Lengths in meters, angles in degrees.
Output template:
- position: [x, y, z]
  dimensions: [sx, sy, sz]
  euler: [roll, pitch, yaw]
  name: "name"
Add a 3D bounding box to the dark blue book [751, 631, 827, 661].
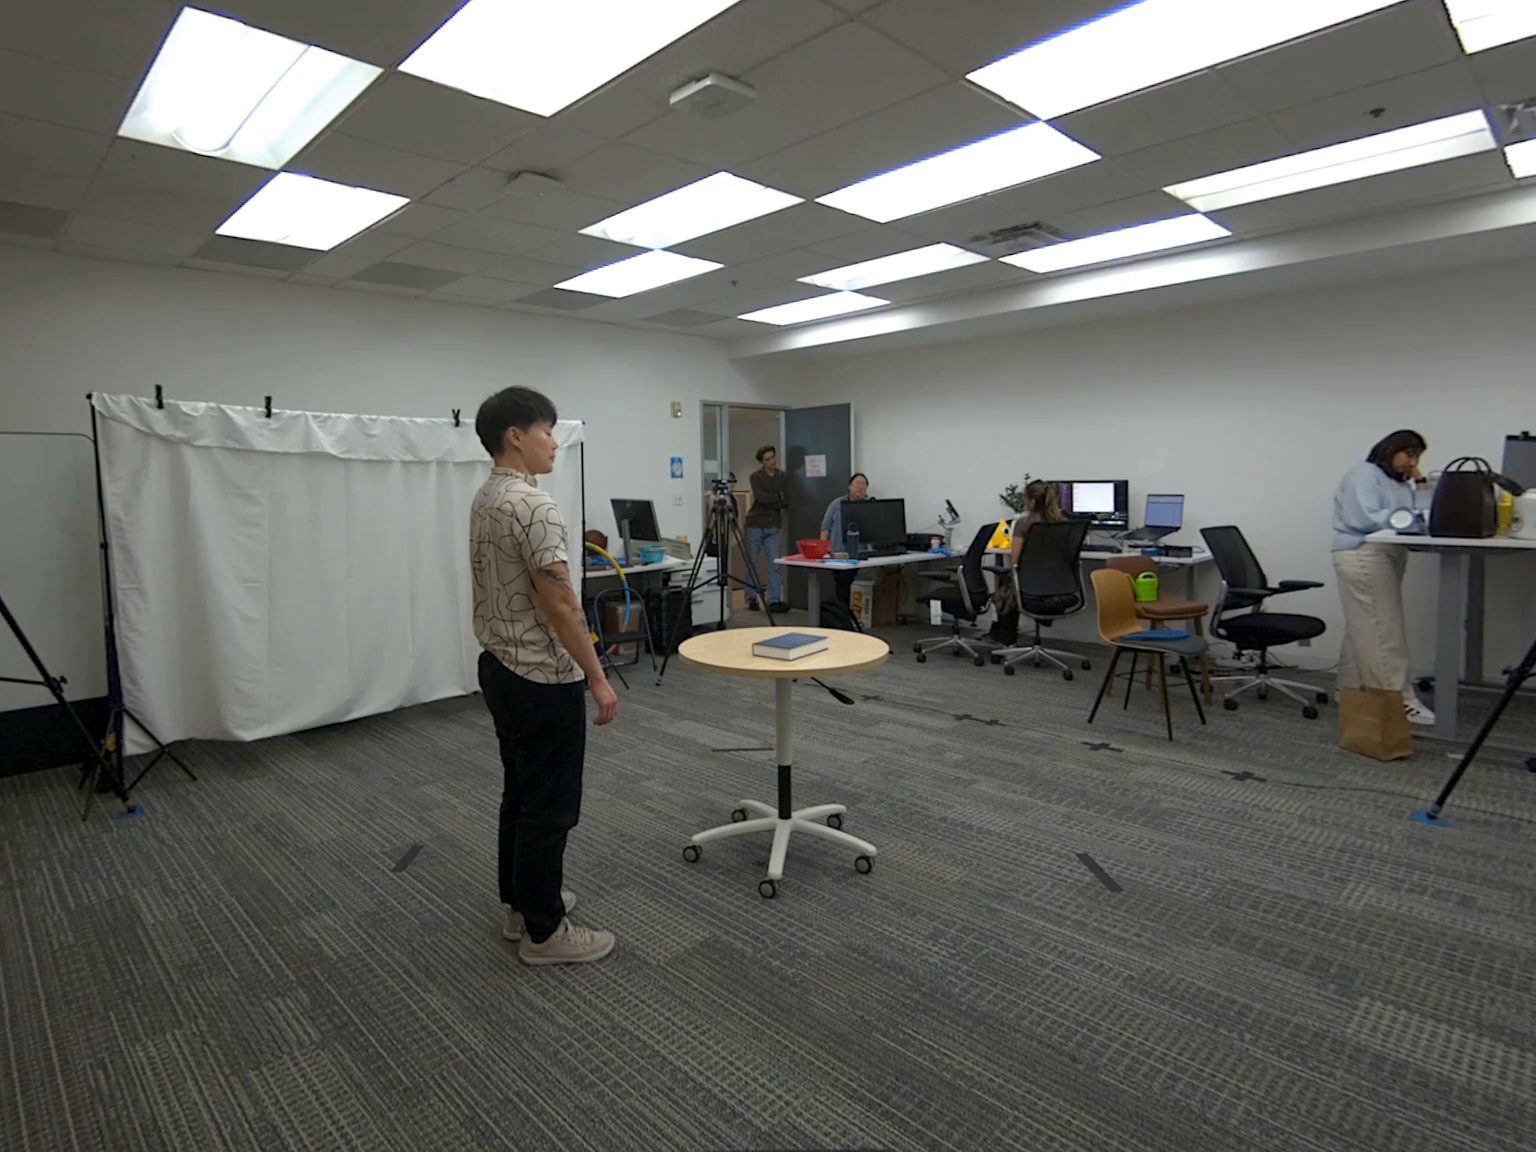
- position: [0.091, 0.249, 3.013]
  dimensions: [0.168, 0.045, 0.239]
  euler: [4, 8, 36]
  name: "dark blue book"
